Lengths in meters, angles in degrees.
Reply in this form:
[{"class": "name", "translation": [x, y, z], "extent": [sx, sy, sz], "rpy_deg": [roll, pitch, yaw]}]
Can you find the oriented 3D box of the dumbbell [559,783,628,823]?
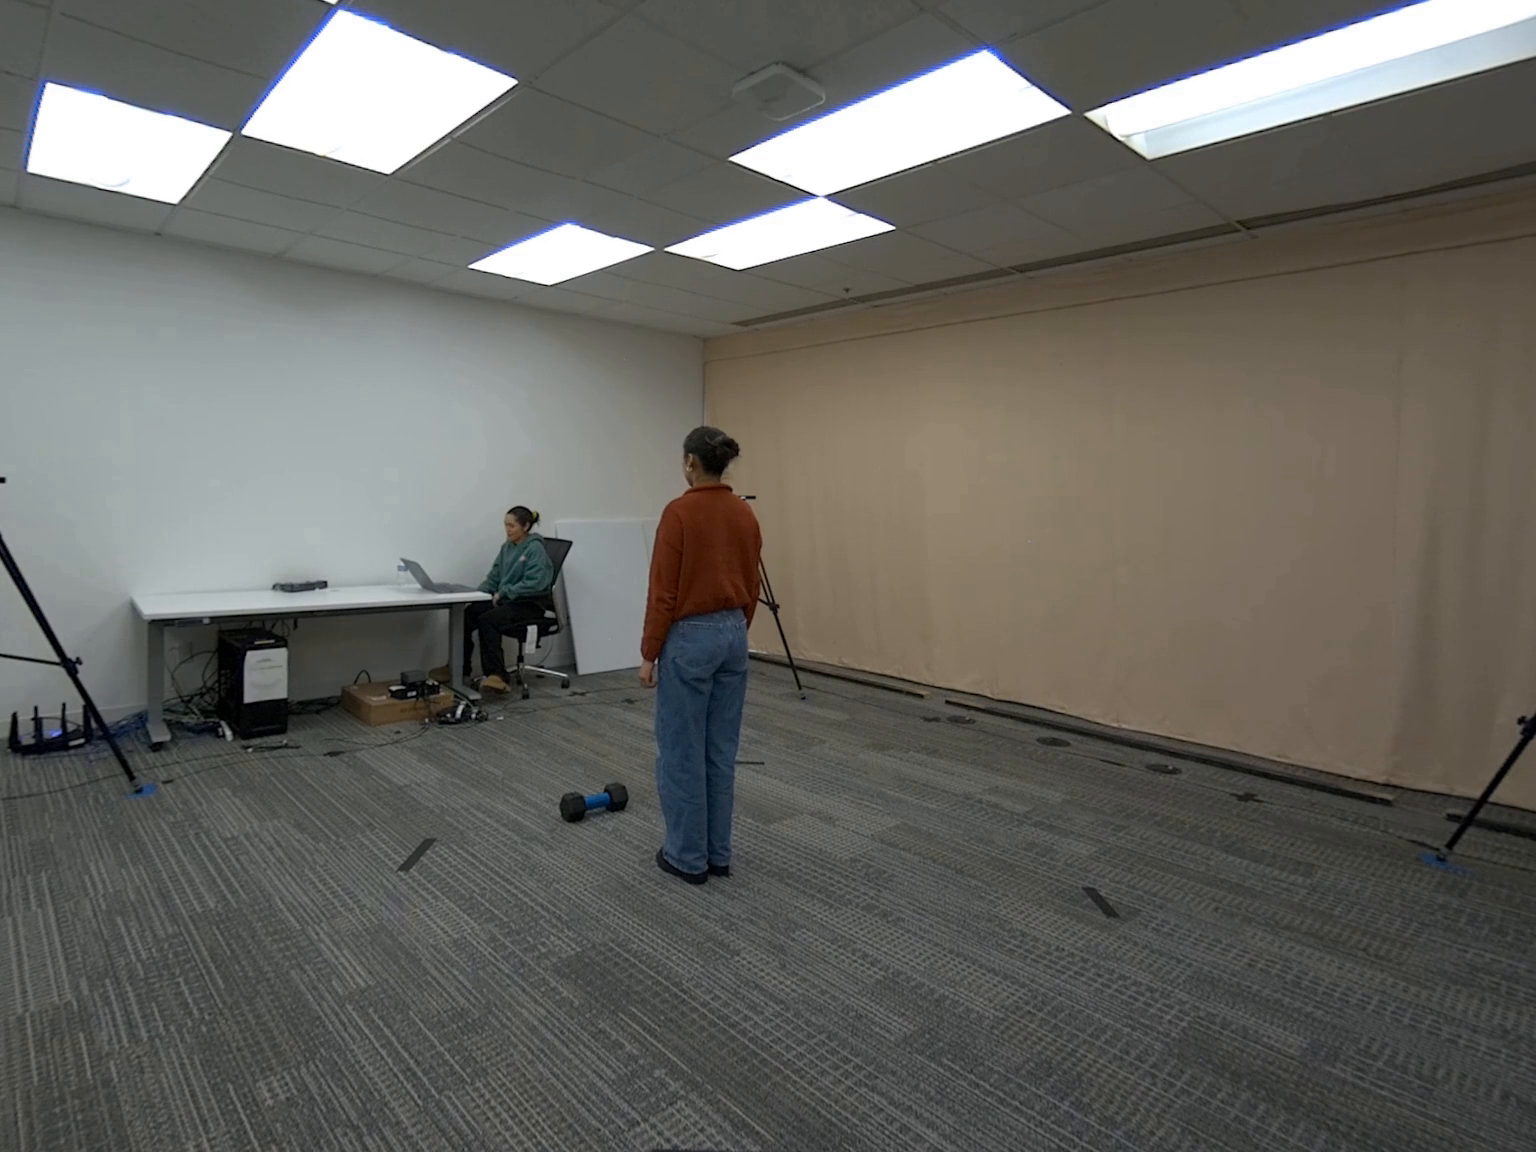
[{"class": "dumbbell", "translation": [-0.765, 0.986, 3.668], "extent": [0.287, 0.122, 0.112], "rpy_deg": [-3, 36, -40]}]
